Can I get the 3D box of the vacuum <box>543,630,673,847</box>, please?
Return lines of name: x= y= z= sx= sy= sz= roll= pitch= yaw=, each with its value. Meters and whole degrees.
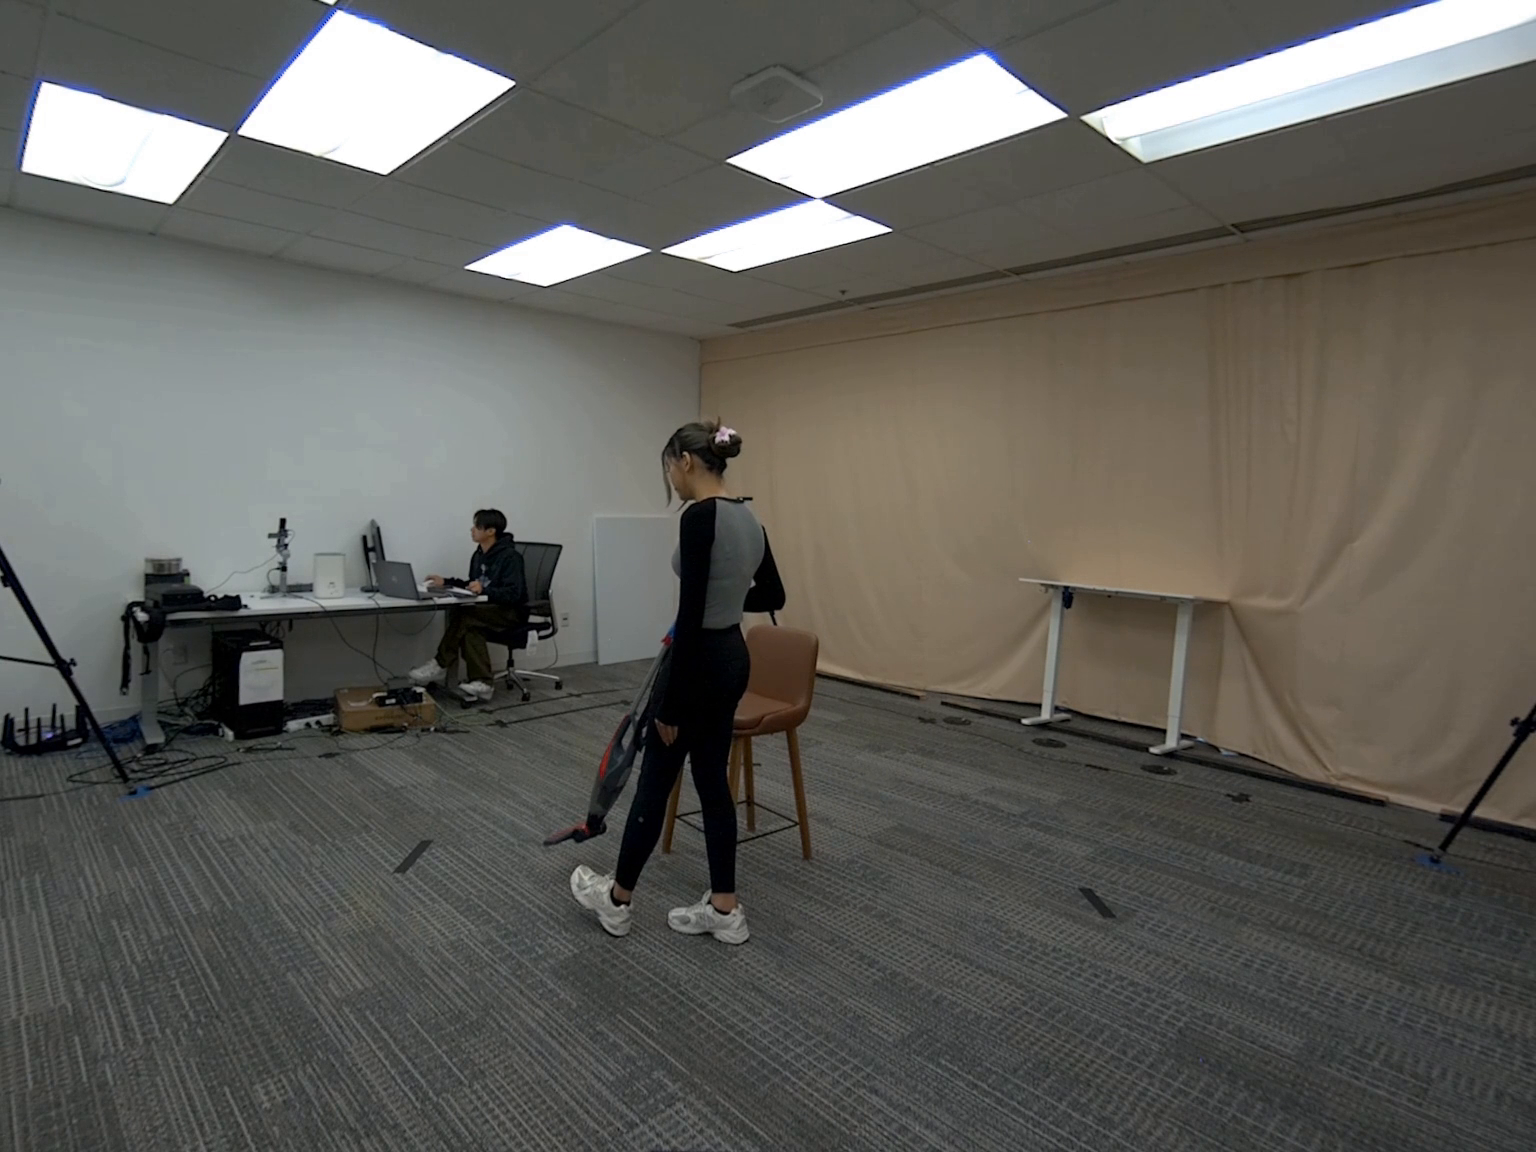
vacuum: x=-0.489 y=0.531 z=2.972 sx=0.147 sy=1.044 sz=0.248 roll=33 pitch=18 yaw=22
